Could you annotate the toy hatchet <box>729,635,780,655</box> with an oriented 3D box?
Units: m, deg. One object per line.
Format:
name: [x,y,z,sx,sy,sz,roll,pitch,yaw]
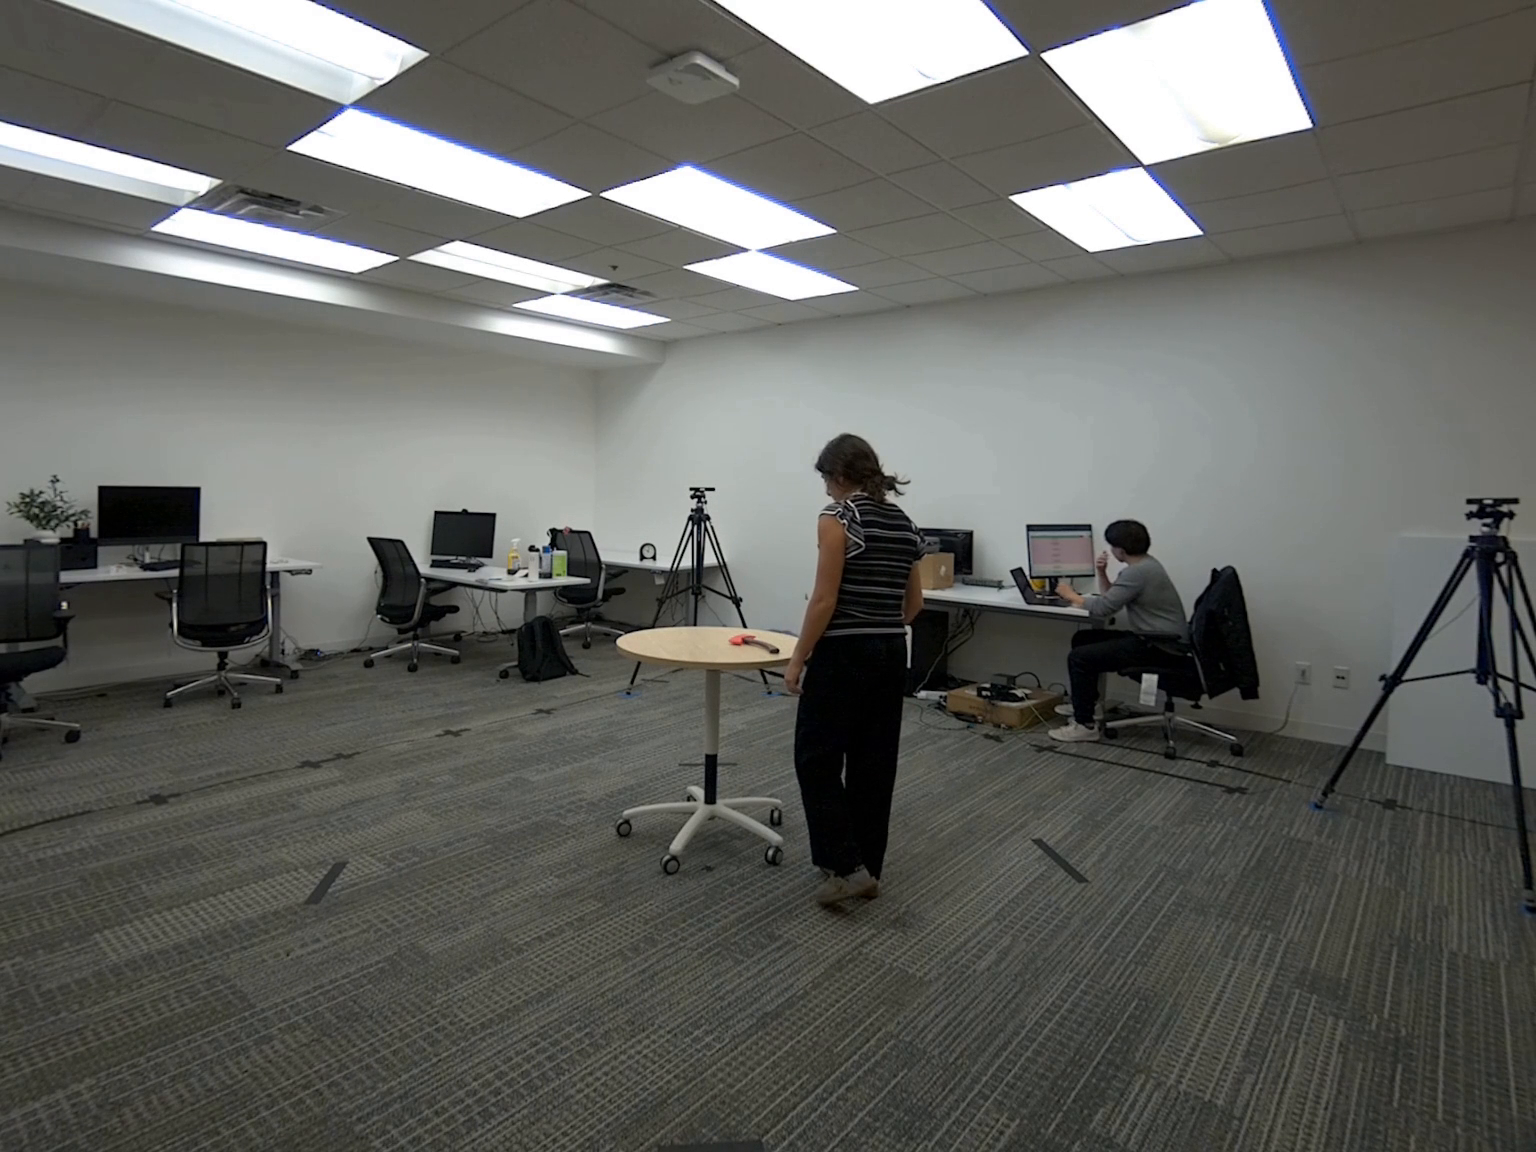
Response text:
toy hatchet: [-0.071,0.261,3.275,0.128,0.029,0.277,-3,8,-20]
